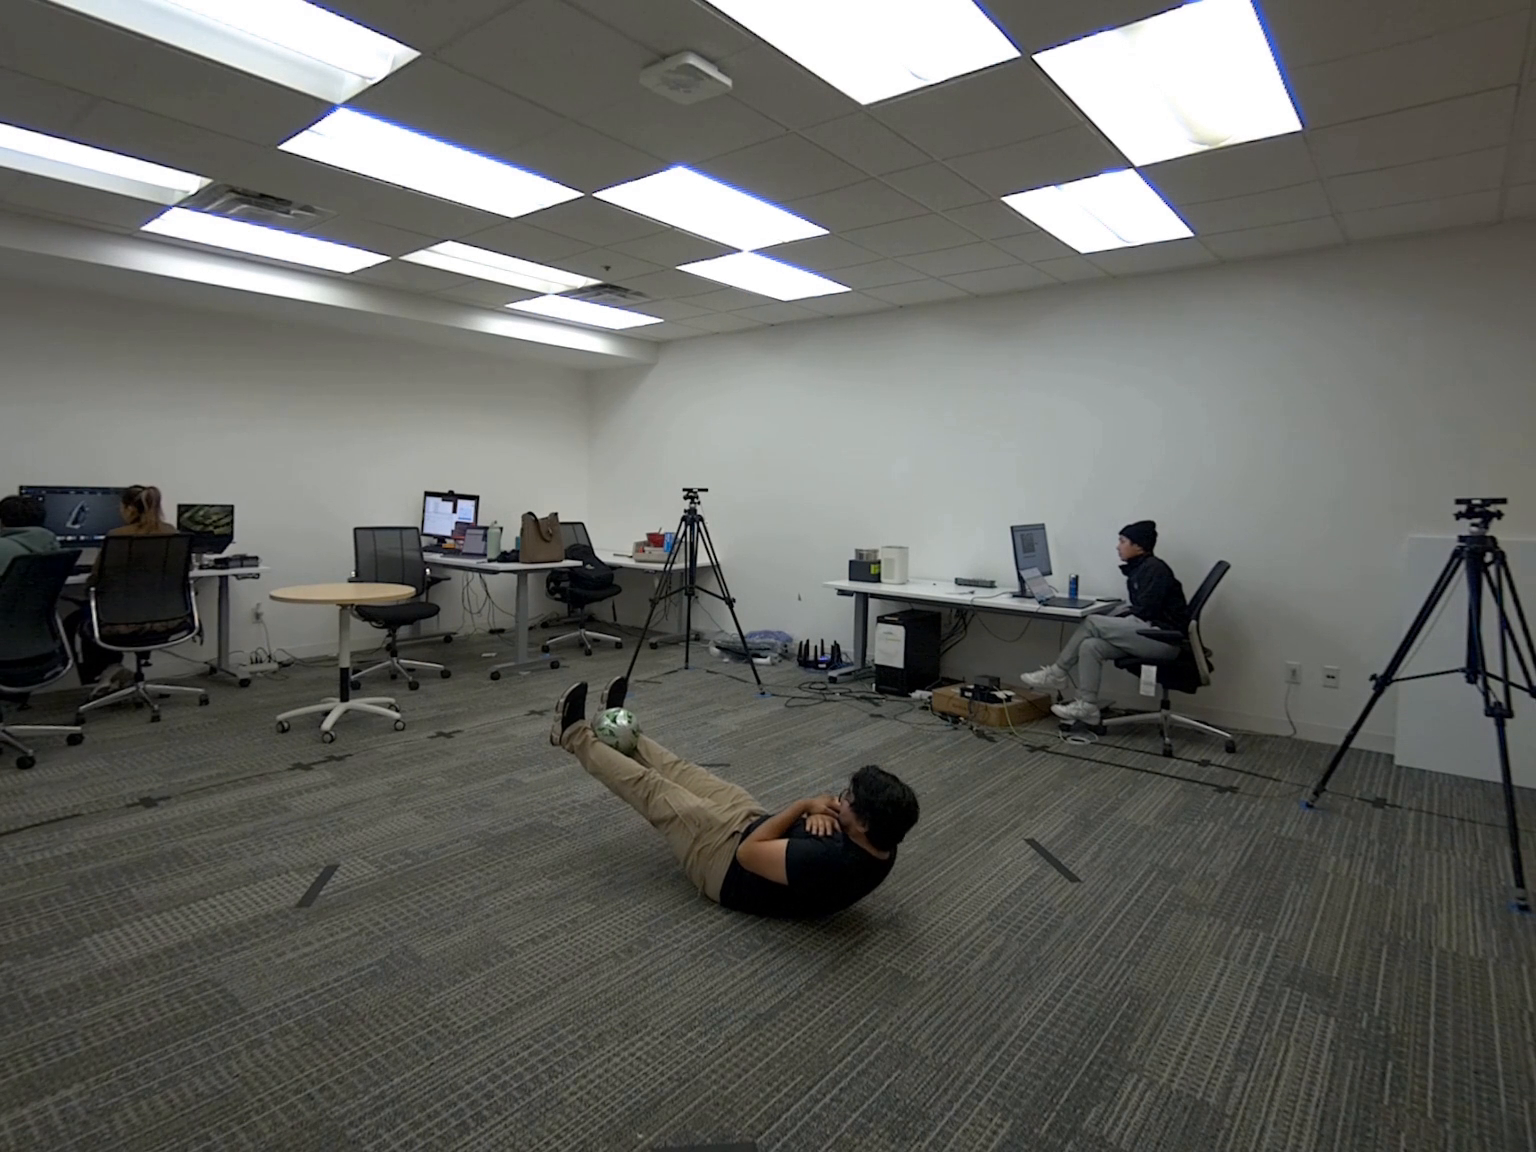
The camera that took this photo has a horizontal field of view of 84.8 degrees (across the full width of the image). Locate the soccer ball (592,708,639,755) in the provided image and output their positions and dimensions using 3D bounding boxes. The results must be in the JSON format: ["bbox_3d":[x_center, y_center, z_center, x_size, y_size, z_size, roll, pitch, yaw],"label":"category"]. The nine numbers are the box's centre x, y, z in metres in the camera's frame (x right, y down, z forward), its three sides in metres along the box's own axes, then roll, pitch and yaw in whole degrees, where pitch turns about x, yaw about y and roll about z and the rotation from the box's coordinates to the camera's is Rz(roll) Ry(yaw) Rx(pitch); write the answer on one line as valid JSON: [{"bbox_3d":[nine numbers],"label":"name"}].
[{"bbox_3d":[-0.612,0.615,3.322,0.187,0.187,0.188,0,4,-2],"label":"soccer ball"}]
